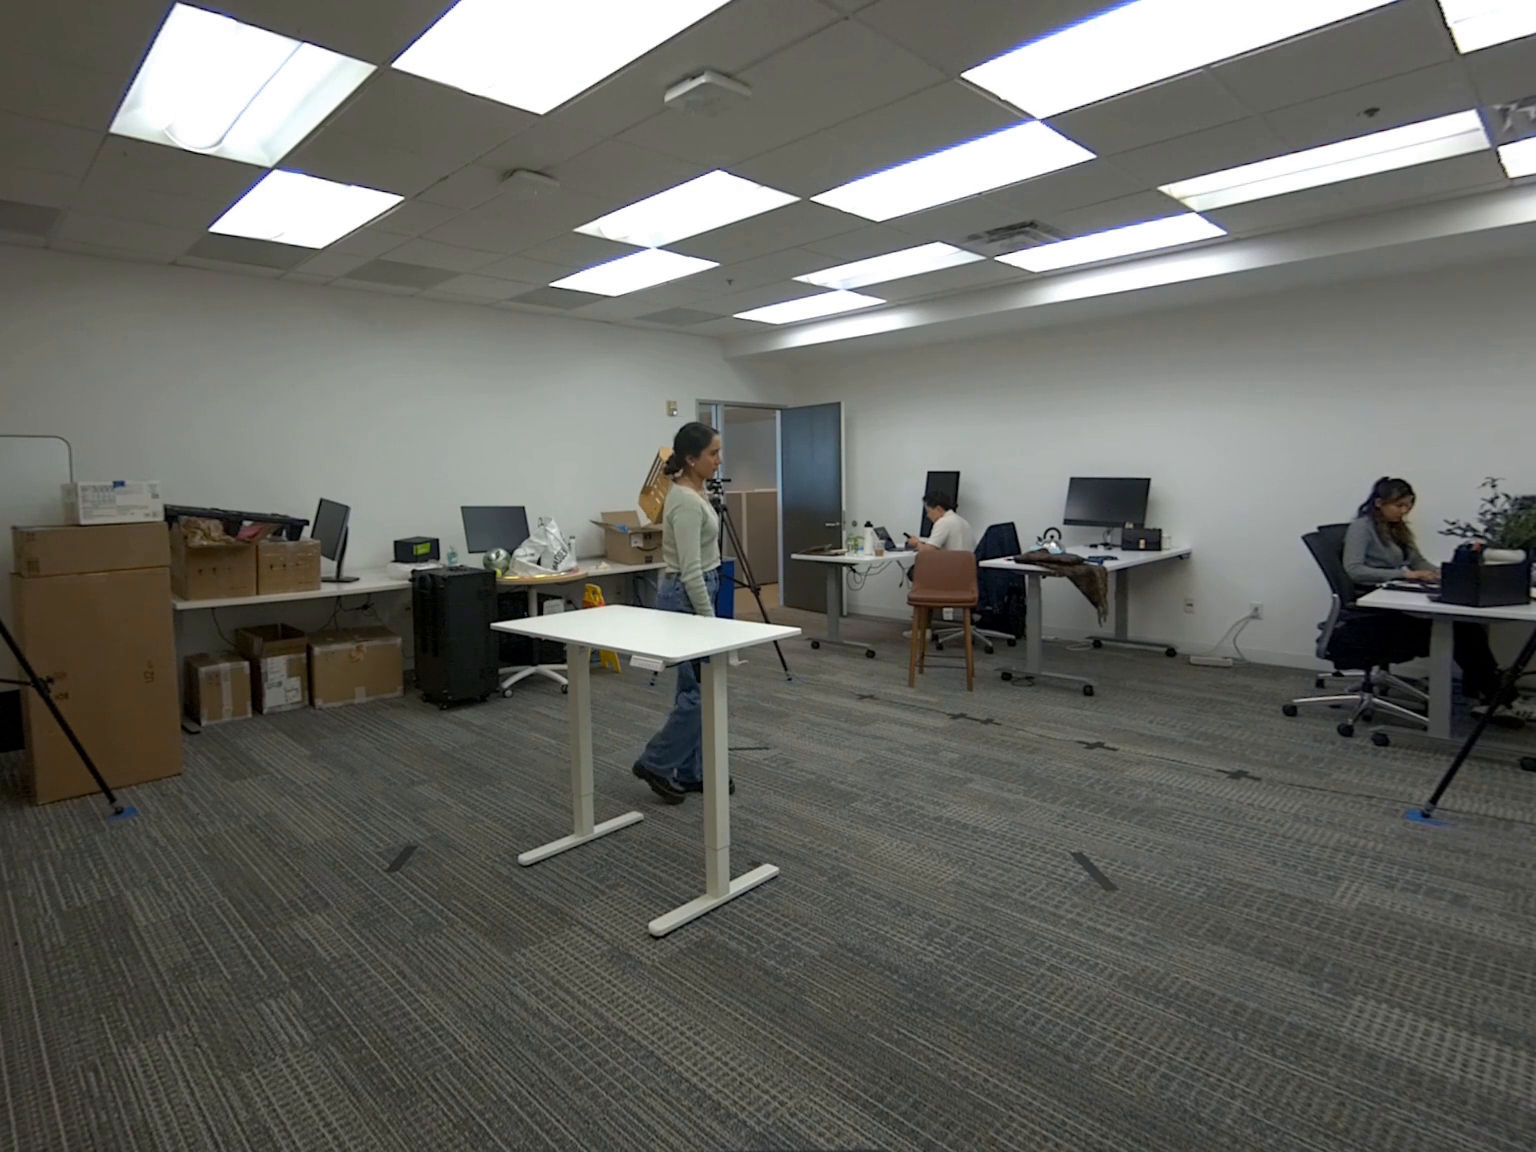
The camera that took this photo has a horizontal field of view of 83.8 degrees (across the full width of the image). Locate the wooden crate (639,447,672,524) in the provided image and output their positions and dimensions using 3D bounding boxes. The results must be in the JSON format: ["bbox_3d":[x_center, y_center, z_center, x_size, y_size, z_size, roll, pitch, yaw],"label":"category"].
[{"bbox_3d":[-0.467,-0.468,4.066,0.267,0.321,0.312,-12,52,-41],"label":"wooden crate"}]
